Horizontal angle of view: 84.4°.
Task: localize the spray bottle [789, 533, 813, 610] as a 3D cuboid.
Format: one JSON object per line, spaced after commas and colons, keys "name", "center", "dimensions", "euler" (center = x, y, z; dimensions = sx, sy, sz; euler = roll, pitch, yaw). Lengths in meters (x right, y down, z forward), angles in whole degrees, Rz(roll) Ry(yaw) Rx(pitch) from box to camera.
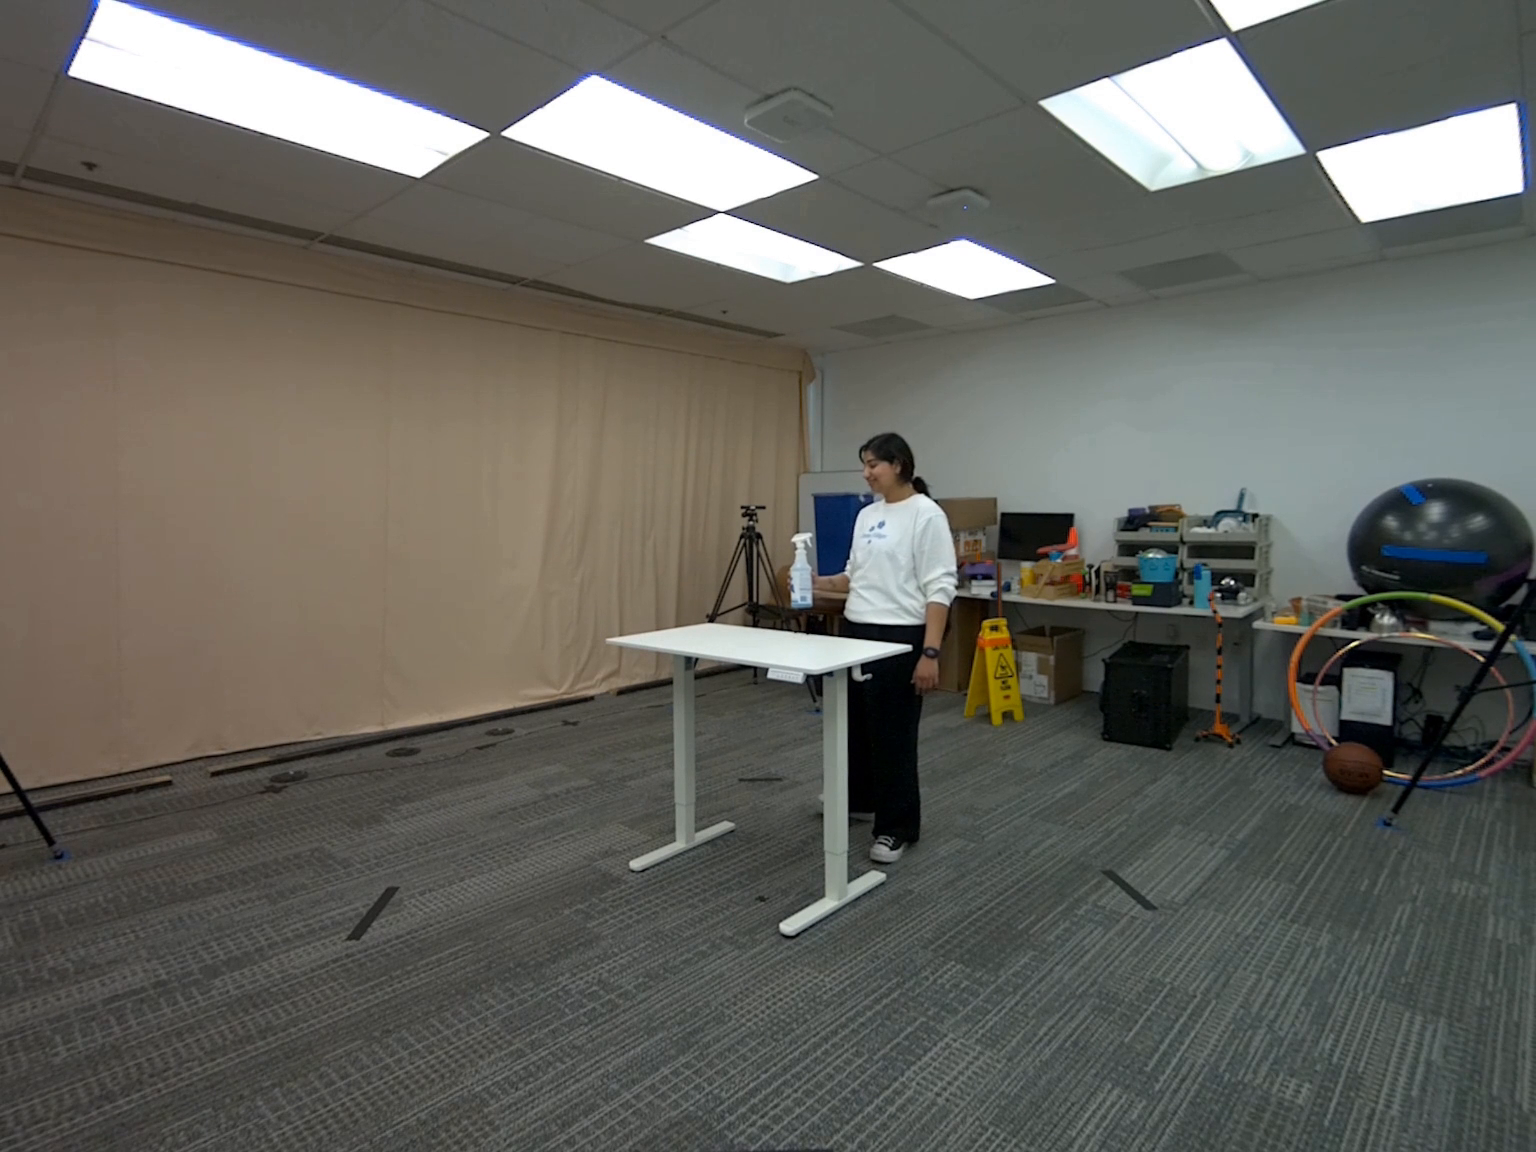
{"name": "spray bottle", "center": [0.147, -0.019, 3.399], "dimensions": [0.084, 0.298, 0.093], "euler": [4, -3, -39]}
